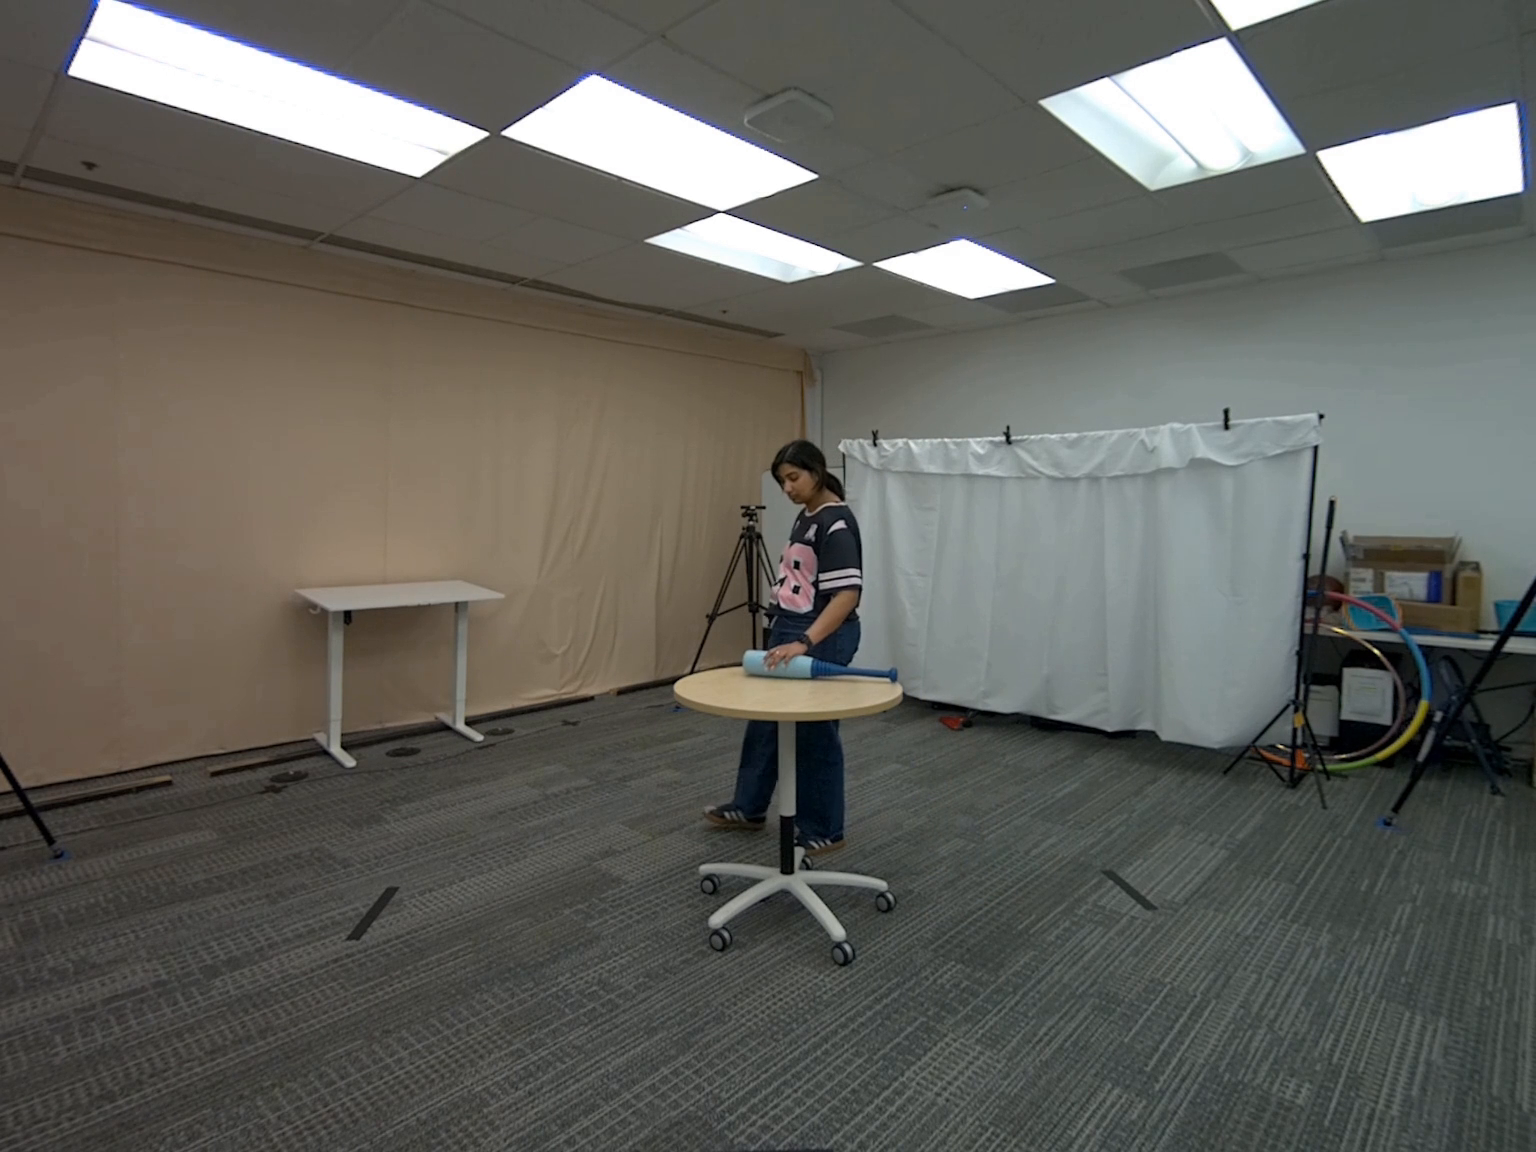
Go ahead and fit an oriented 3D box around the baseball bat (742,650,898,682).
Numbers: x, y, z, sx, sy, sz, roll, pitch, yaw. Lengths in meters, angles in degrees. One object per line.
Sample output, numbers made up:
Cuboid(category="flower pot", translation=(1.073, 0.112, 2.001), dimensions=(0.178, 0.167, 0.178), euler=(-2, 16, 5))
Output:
Cuboid(category="baseball bat", translation=(0.183, 0.326, 2.953), dimensions=(0.552, 0.089, 0.088), euler=(3, 4, 15))
